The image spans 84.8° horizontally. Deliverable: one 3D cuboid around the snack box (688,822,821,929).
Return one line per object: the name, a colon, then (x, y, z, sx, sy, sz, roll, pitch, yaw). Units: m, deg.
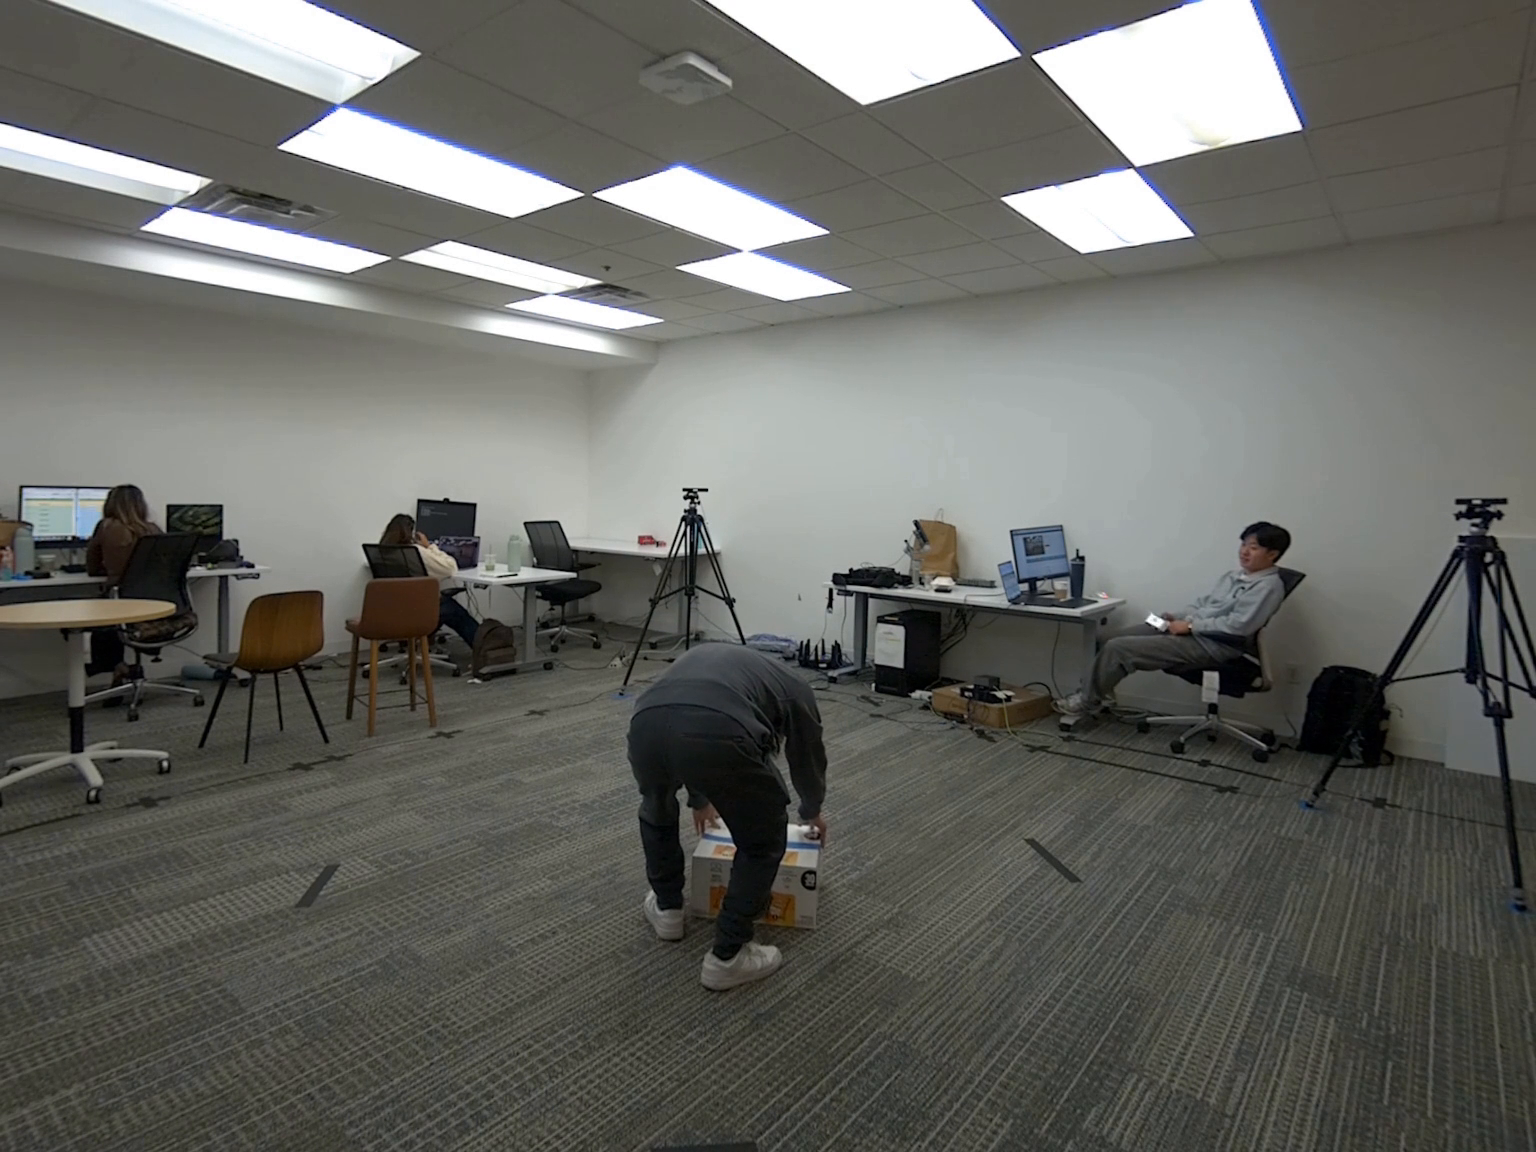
snack box: (-0.038, 0.994, 2.882, 0.410, 0.205, 0.338, 2, 5, 9)
